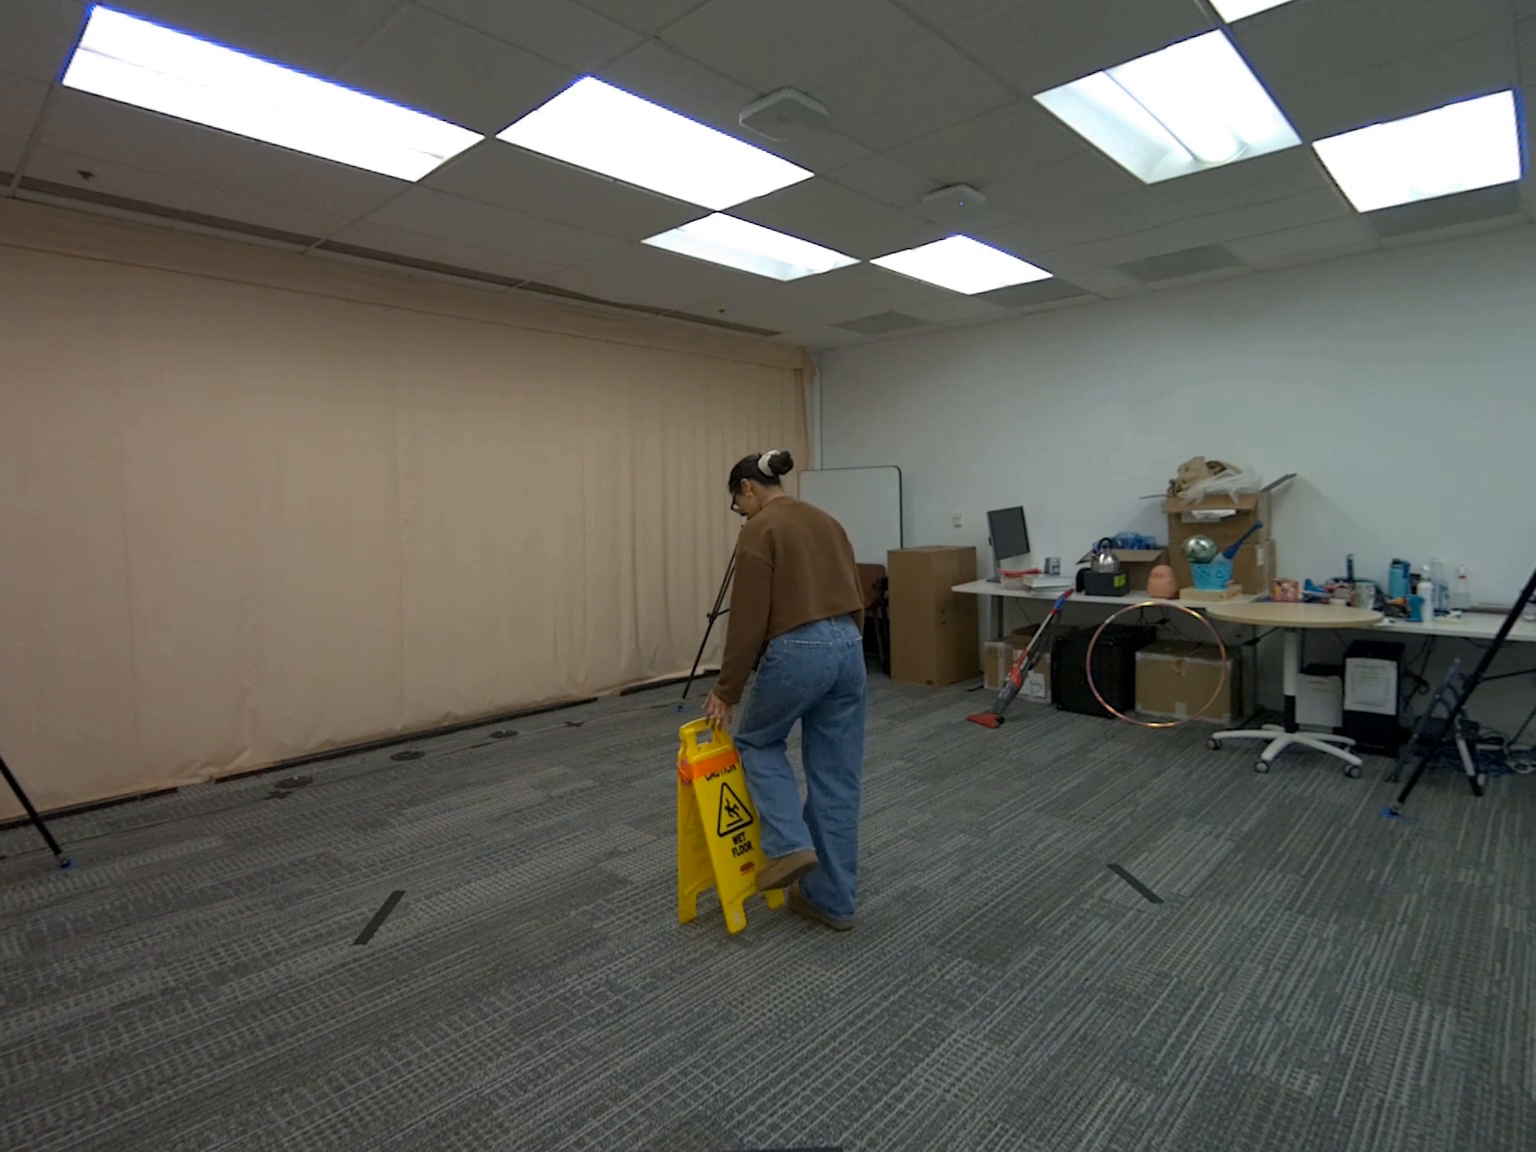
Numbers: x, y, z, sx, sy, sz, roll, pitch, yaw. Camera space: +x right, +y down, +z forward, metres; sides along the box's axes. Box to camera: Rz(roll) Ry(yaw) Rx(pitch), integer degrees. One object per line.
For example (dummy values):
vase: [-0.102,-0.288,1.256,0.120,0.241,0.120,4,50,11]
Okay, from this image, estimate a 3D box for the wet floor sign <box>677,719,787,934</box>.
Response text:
wet floor sign: [-0.173,0.818,2.851,0.297,0.649,0.274,-14,-7,41]
